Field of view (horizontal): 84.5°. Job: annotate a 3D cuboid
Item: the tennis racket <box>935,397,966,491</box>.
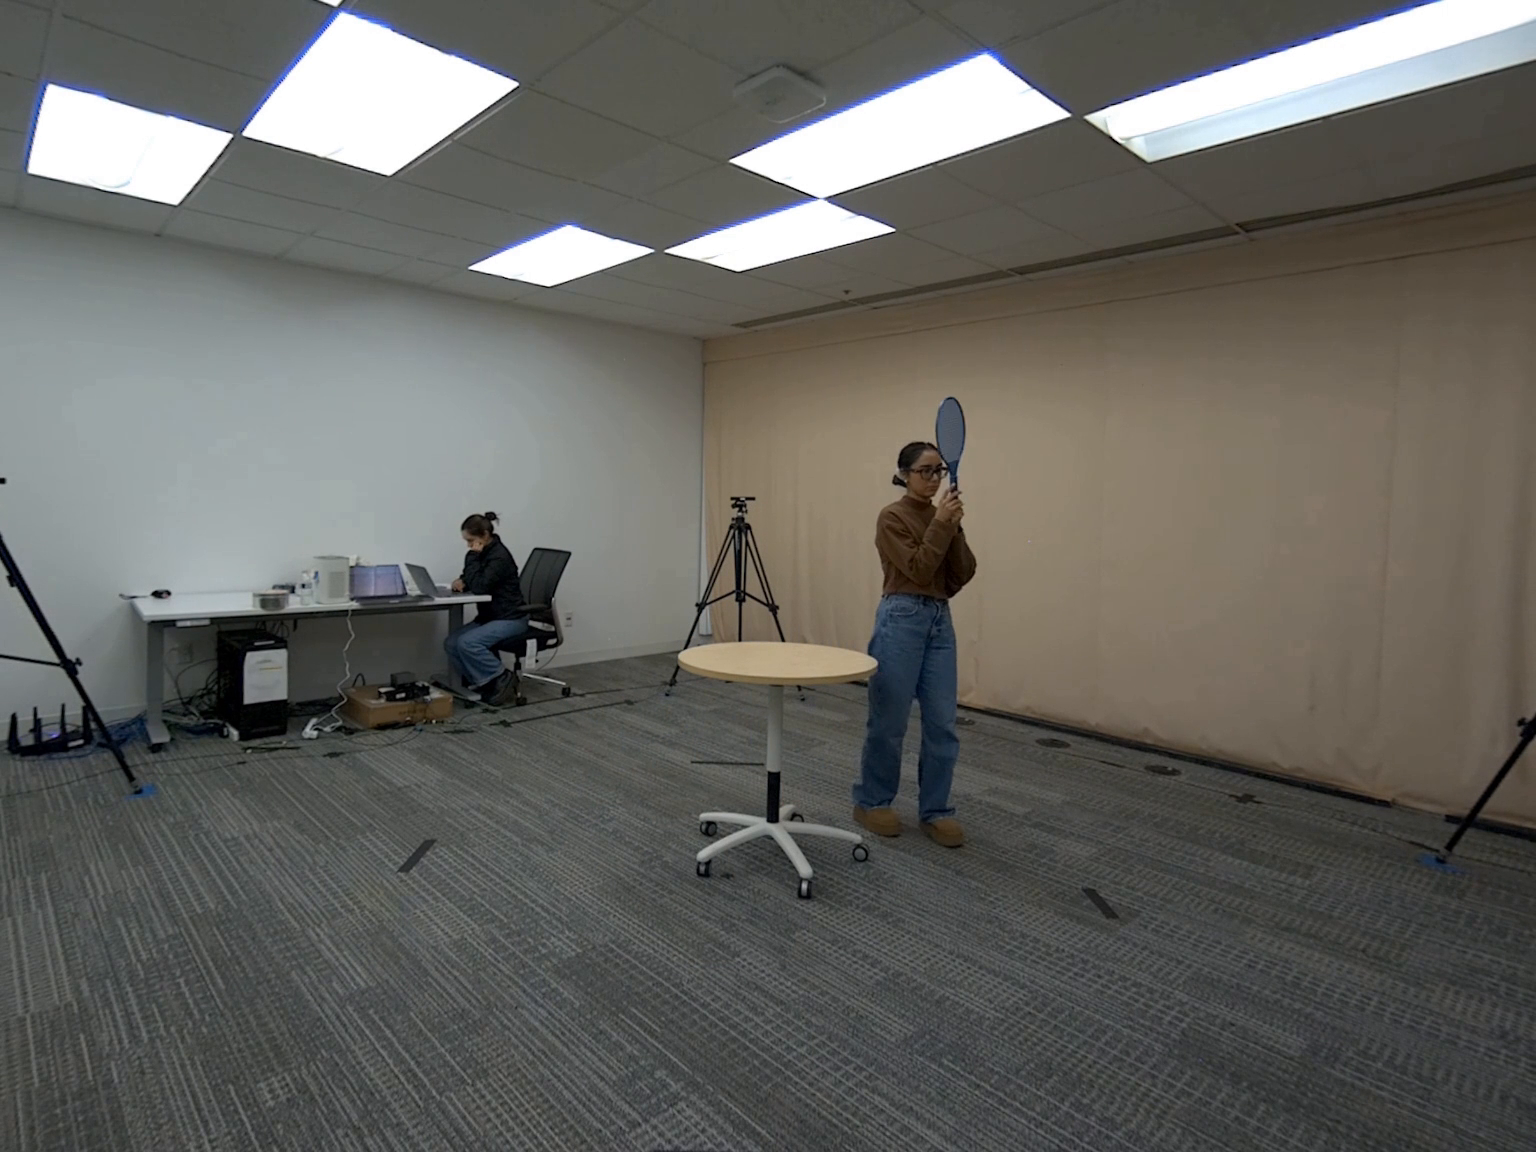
[{"bbox_3d":[0.720,-0.491,3.331,0.032,0.427,0.211,7,21,42],"label":"tennis racket"}]
